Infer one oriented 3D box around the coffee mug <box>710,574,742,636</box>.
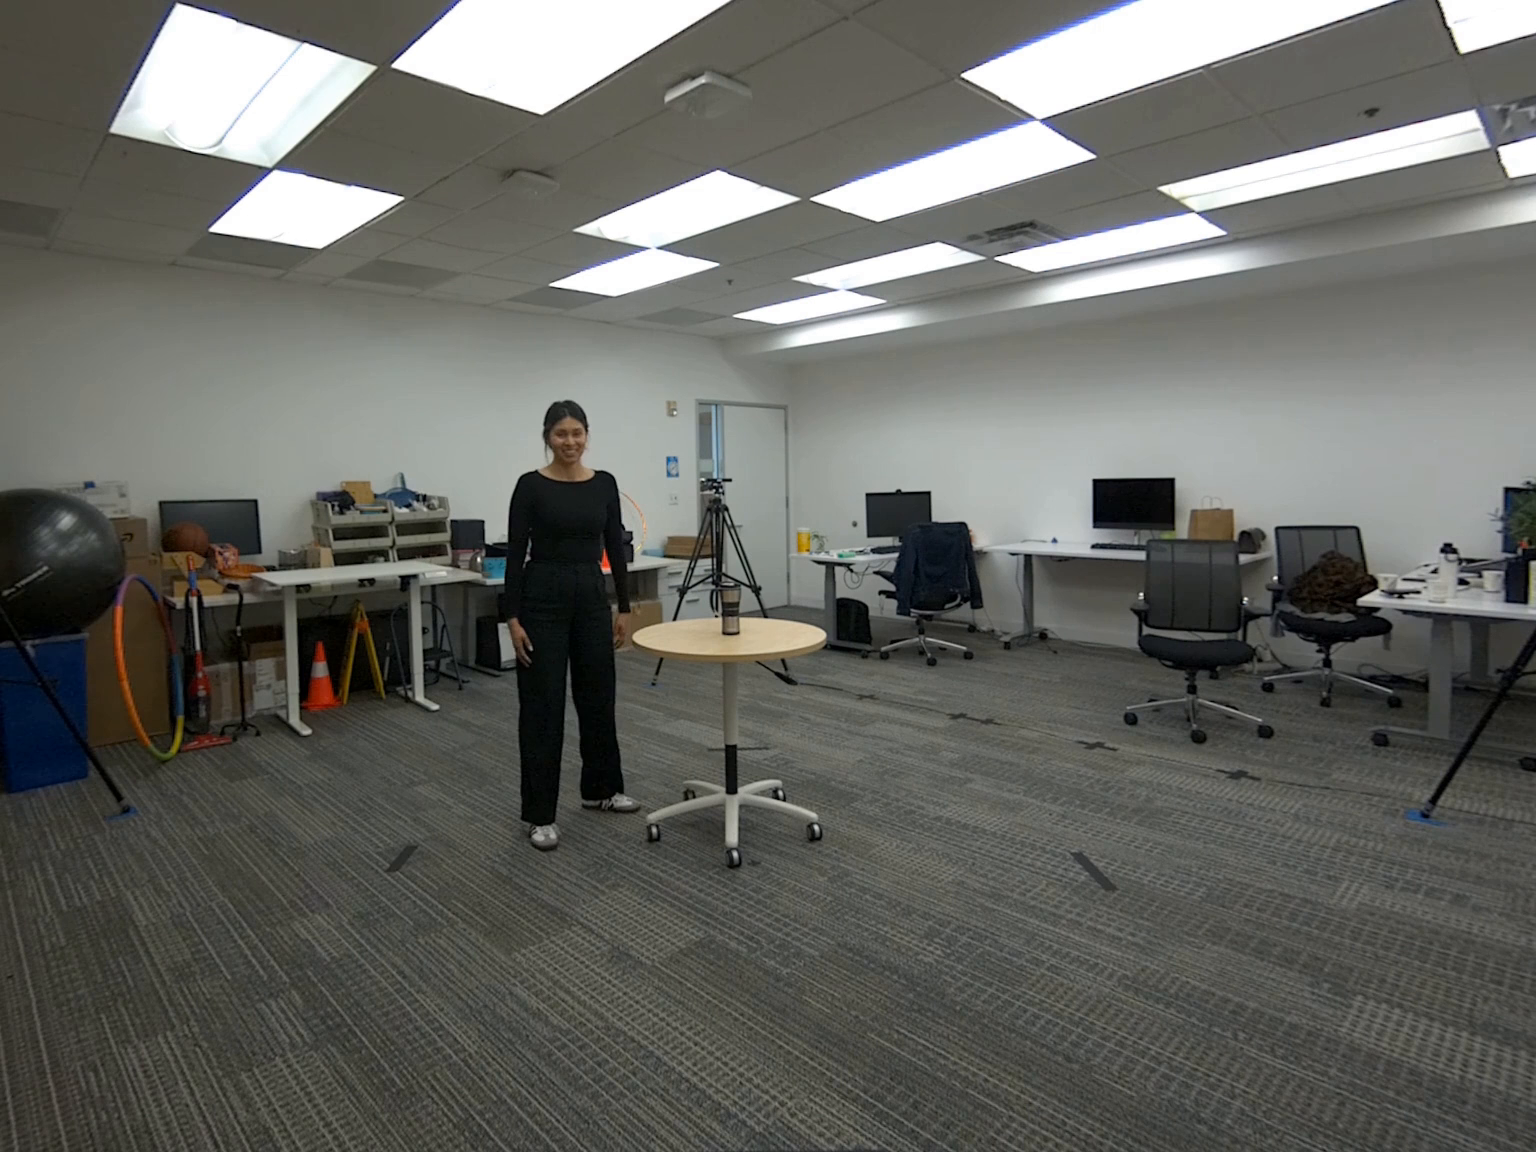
[{"bbox_3d":[-0.164,0.130,3.388,0.086,0.201,0.126,-12,16,-44],"label":"coffee mug"}]
